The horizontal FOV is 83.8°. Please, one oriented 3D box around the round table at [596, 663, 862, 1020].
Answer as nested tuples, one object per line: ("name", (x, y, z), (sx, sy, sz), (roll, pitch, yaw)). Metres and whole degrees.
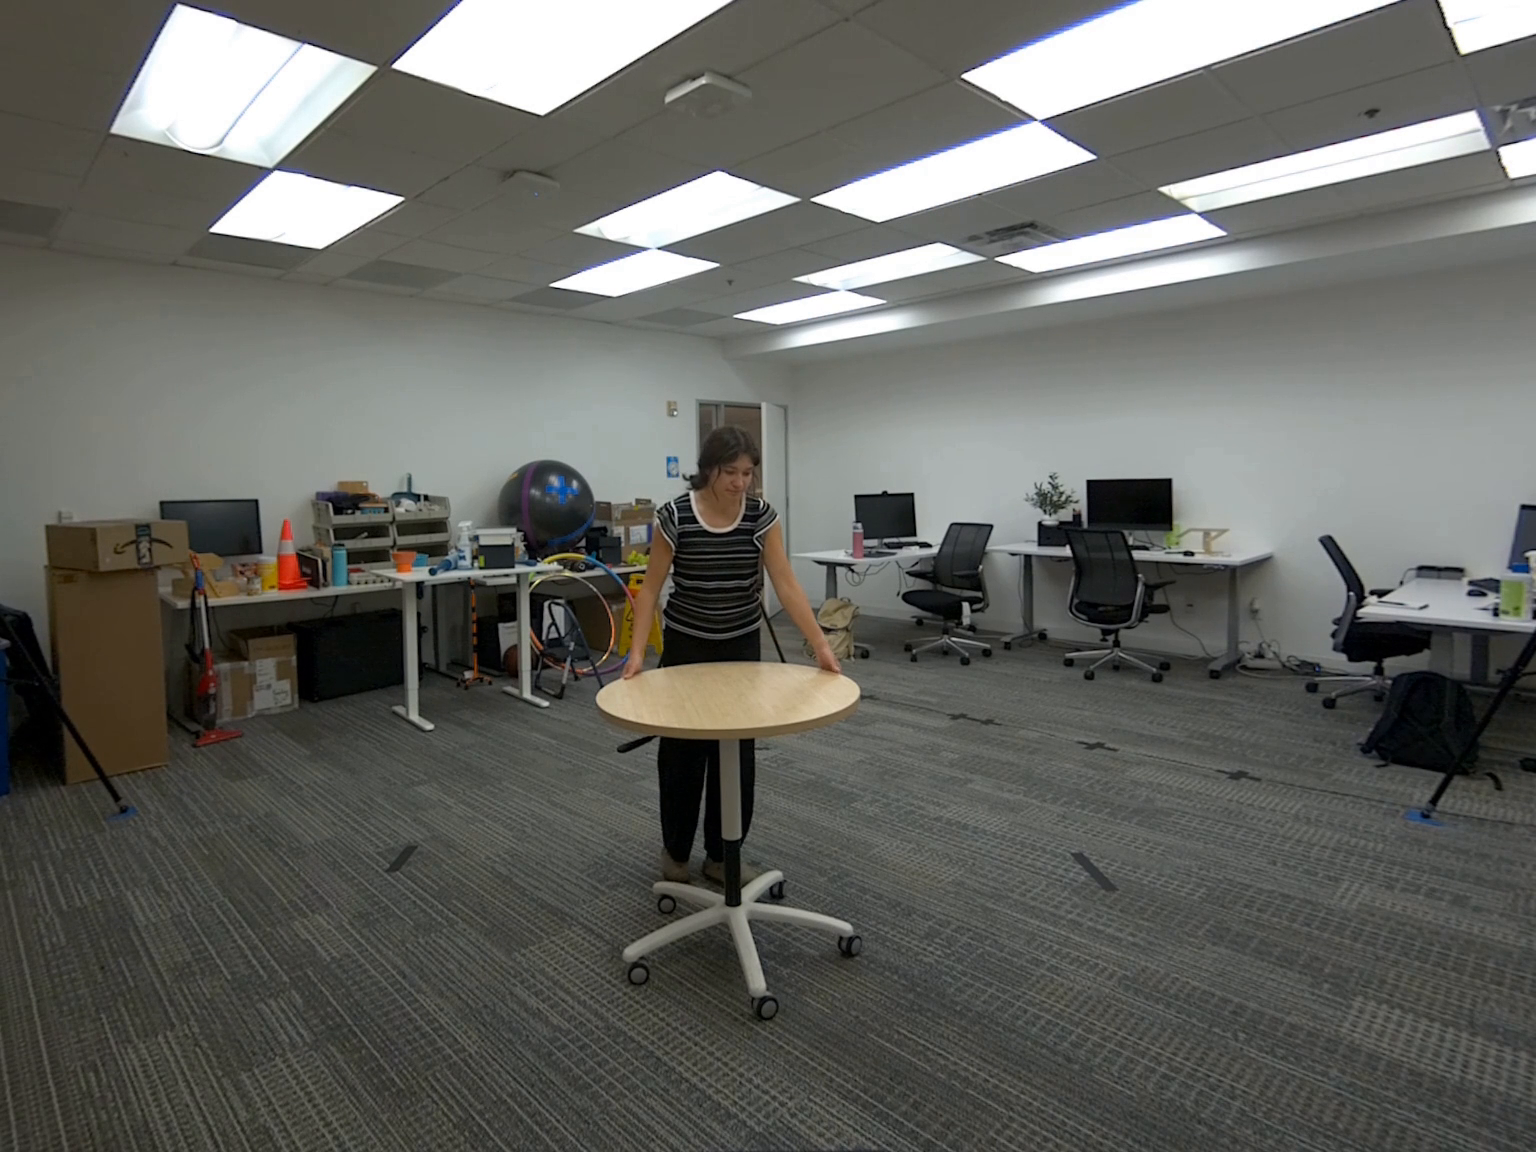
("round table", (-0.124, 0.724, 2.517), (0.784, 0.783, 0.789), (-2, 5, -2))
